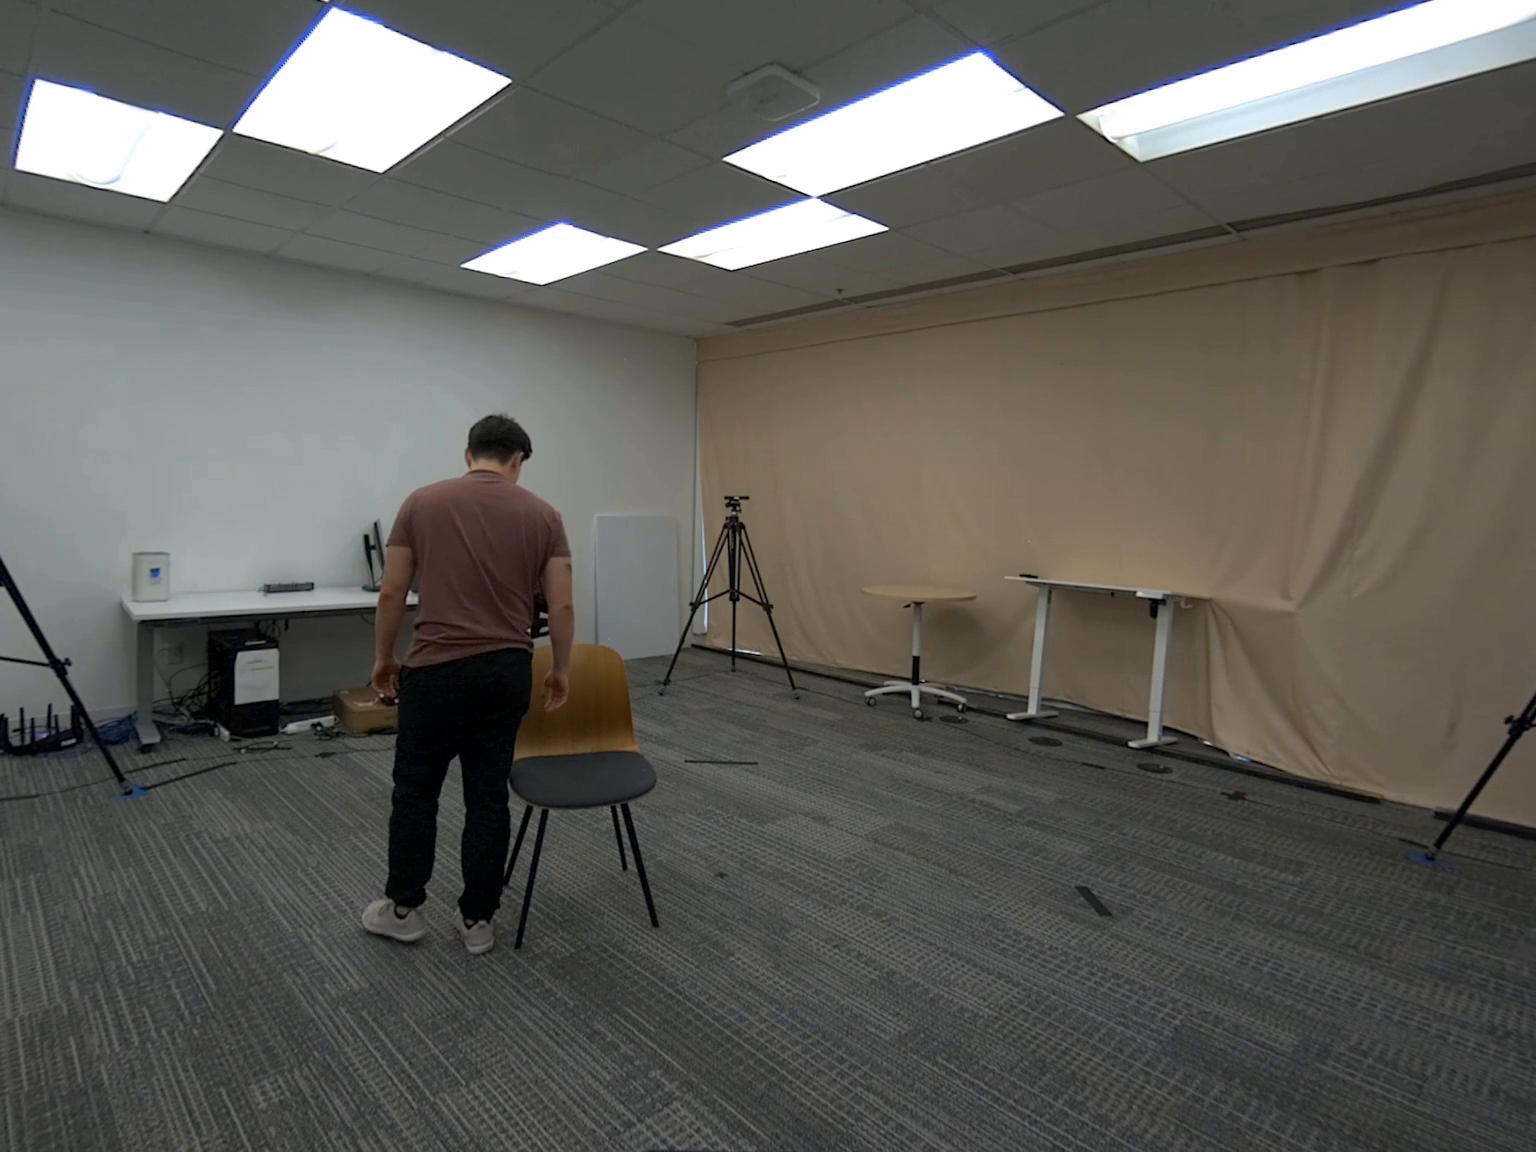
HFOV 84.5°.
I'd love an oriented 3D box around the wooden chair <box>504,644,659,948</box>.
[{"bbox_3d":[-0.631,0.693,2.809,0.470,0.878,0.531,0,0,-21],"label":"wooden chair"}]
